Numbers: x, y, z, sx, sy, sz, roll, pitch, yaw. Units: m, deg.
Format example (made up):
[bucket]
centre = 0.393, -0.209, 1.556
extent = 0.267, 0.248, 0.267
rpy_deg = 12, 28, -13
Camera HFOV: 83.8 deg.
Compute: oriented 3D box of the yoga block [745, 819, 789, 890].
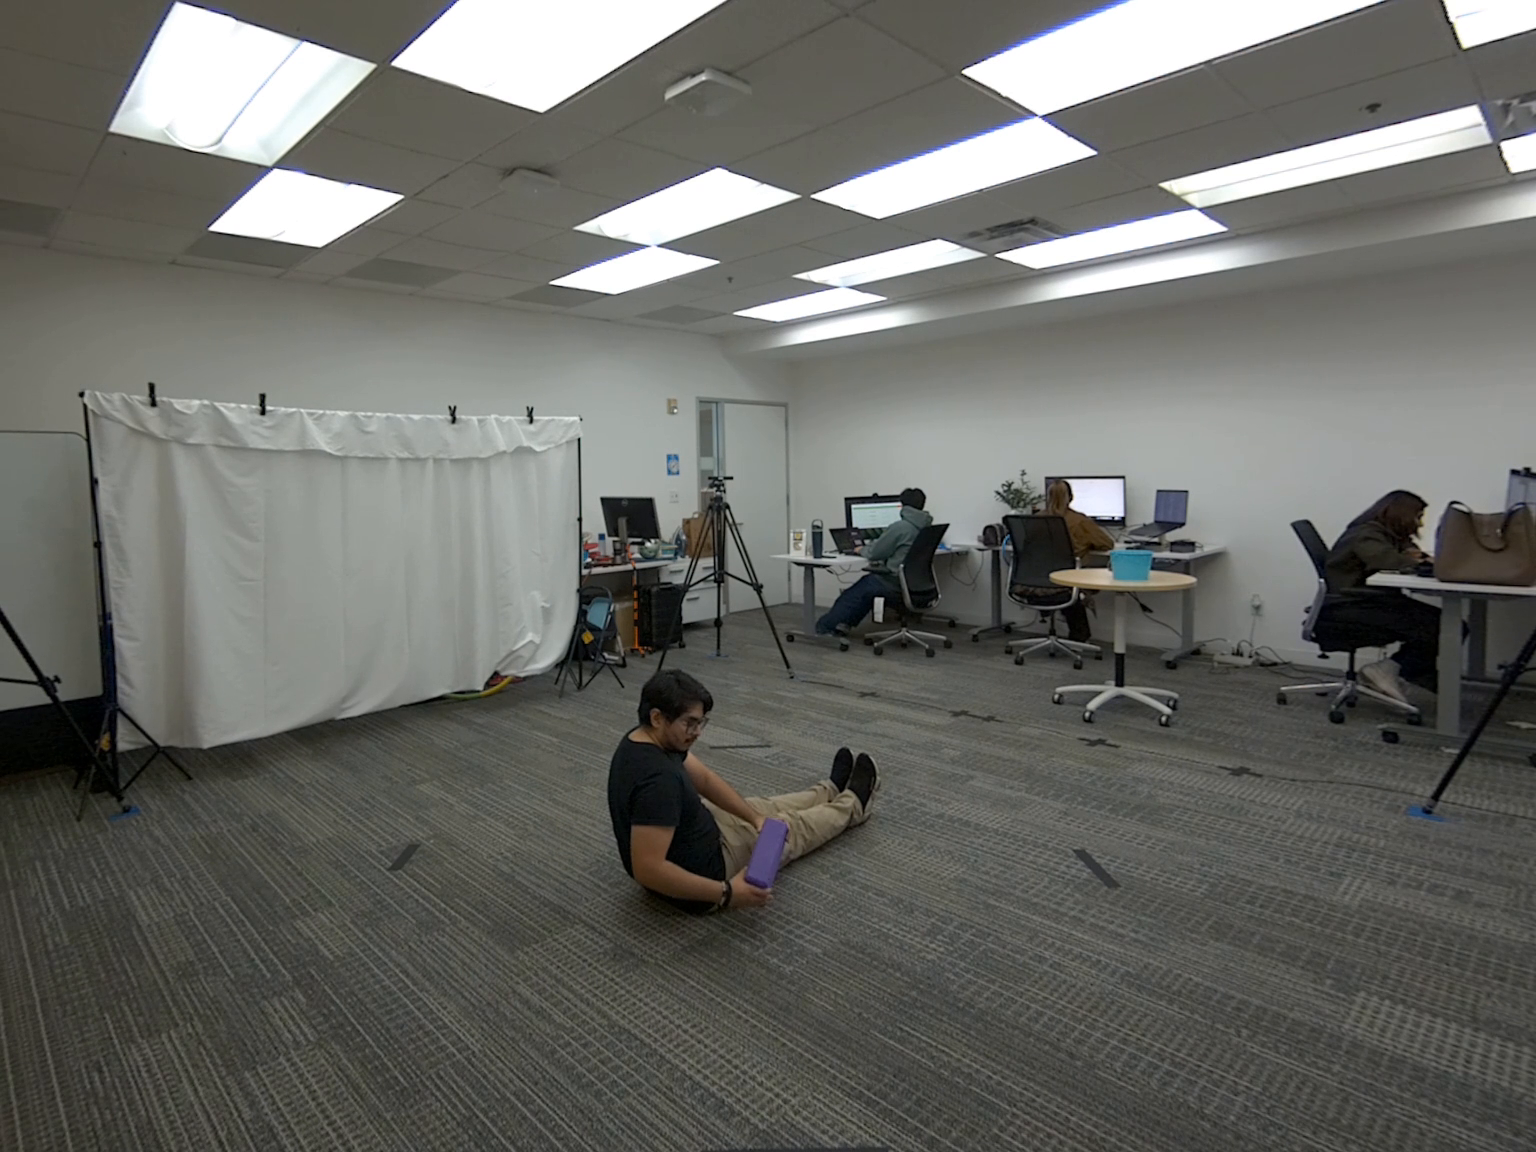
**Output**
[yoga block]
centre = -0.014, 0.894, 2.699
extent = 0.077, 0.146, 0.233
rpy_deg = 14, 43, 4
